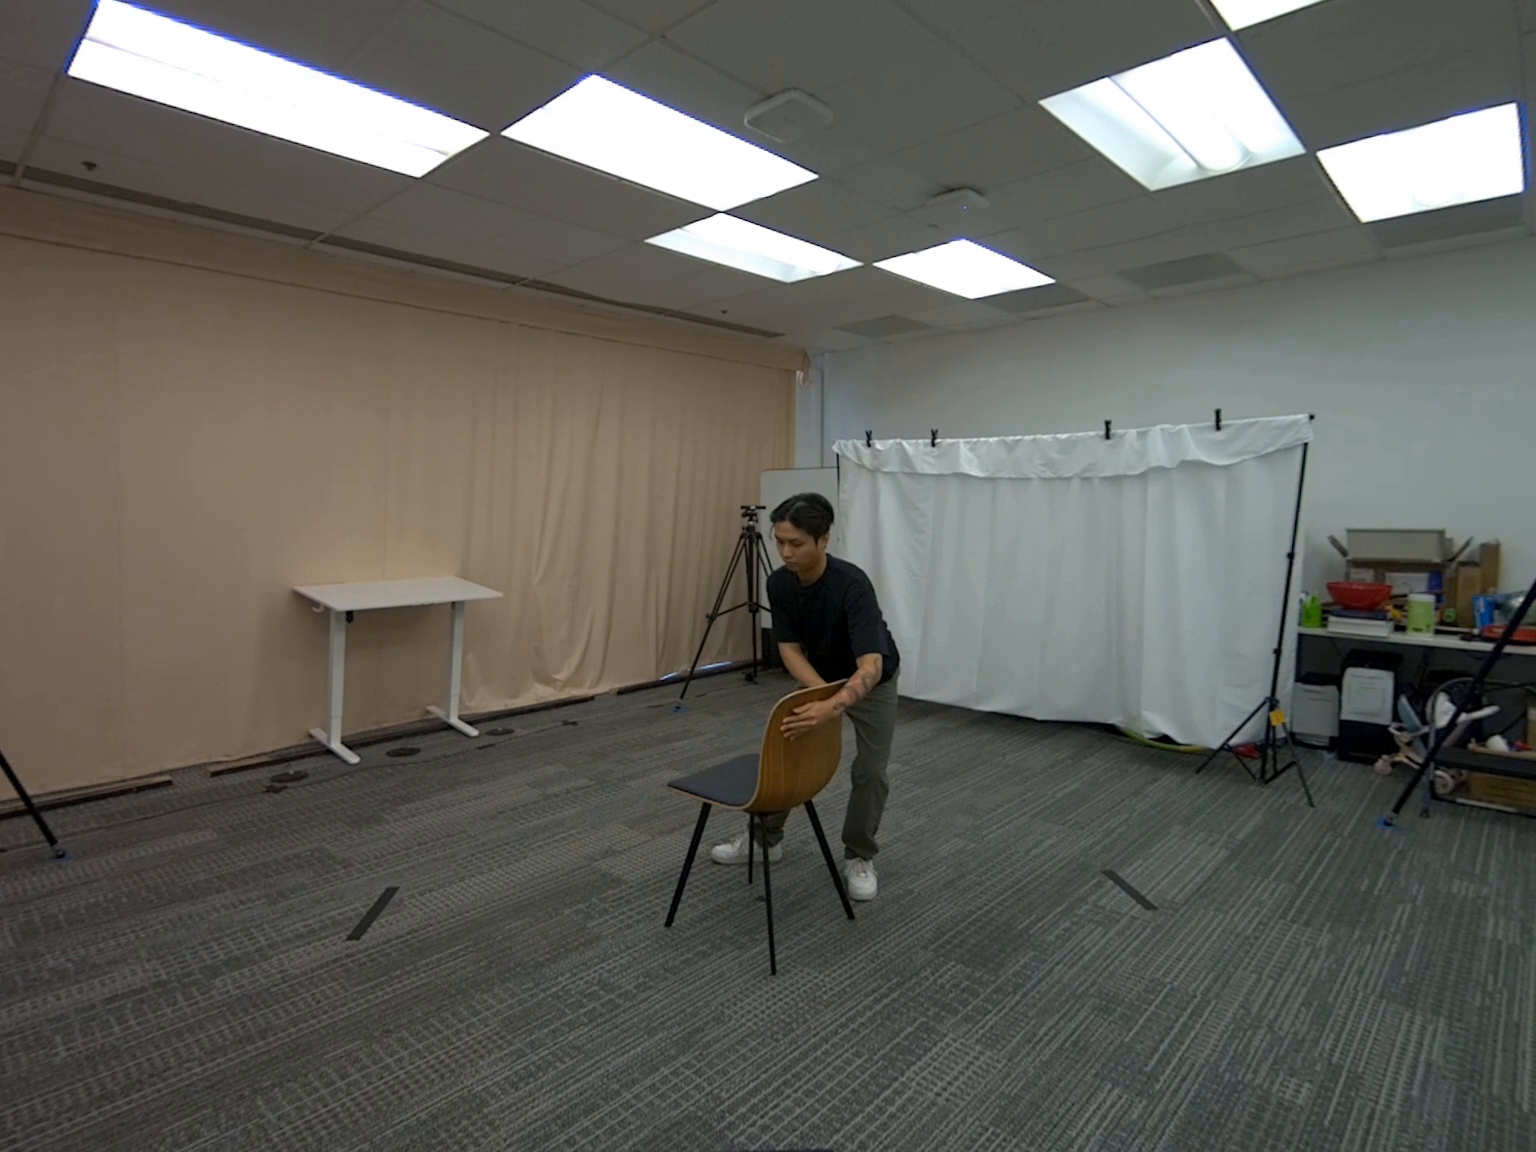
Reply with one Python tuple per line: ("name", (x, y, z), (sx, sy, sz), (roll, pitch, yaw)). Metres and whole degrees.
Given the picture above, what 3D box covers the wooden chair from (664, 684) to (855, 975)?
("wooden chair", (-0.039, 0.730, 2.784), (0.541, 0.874, 0.464), (7, 8, 38))
